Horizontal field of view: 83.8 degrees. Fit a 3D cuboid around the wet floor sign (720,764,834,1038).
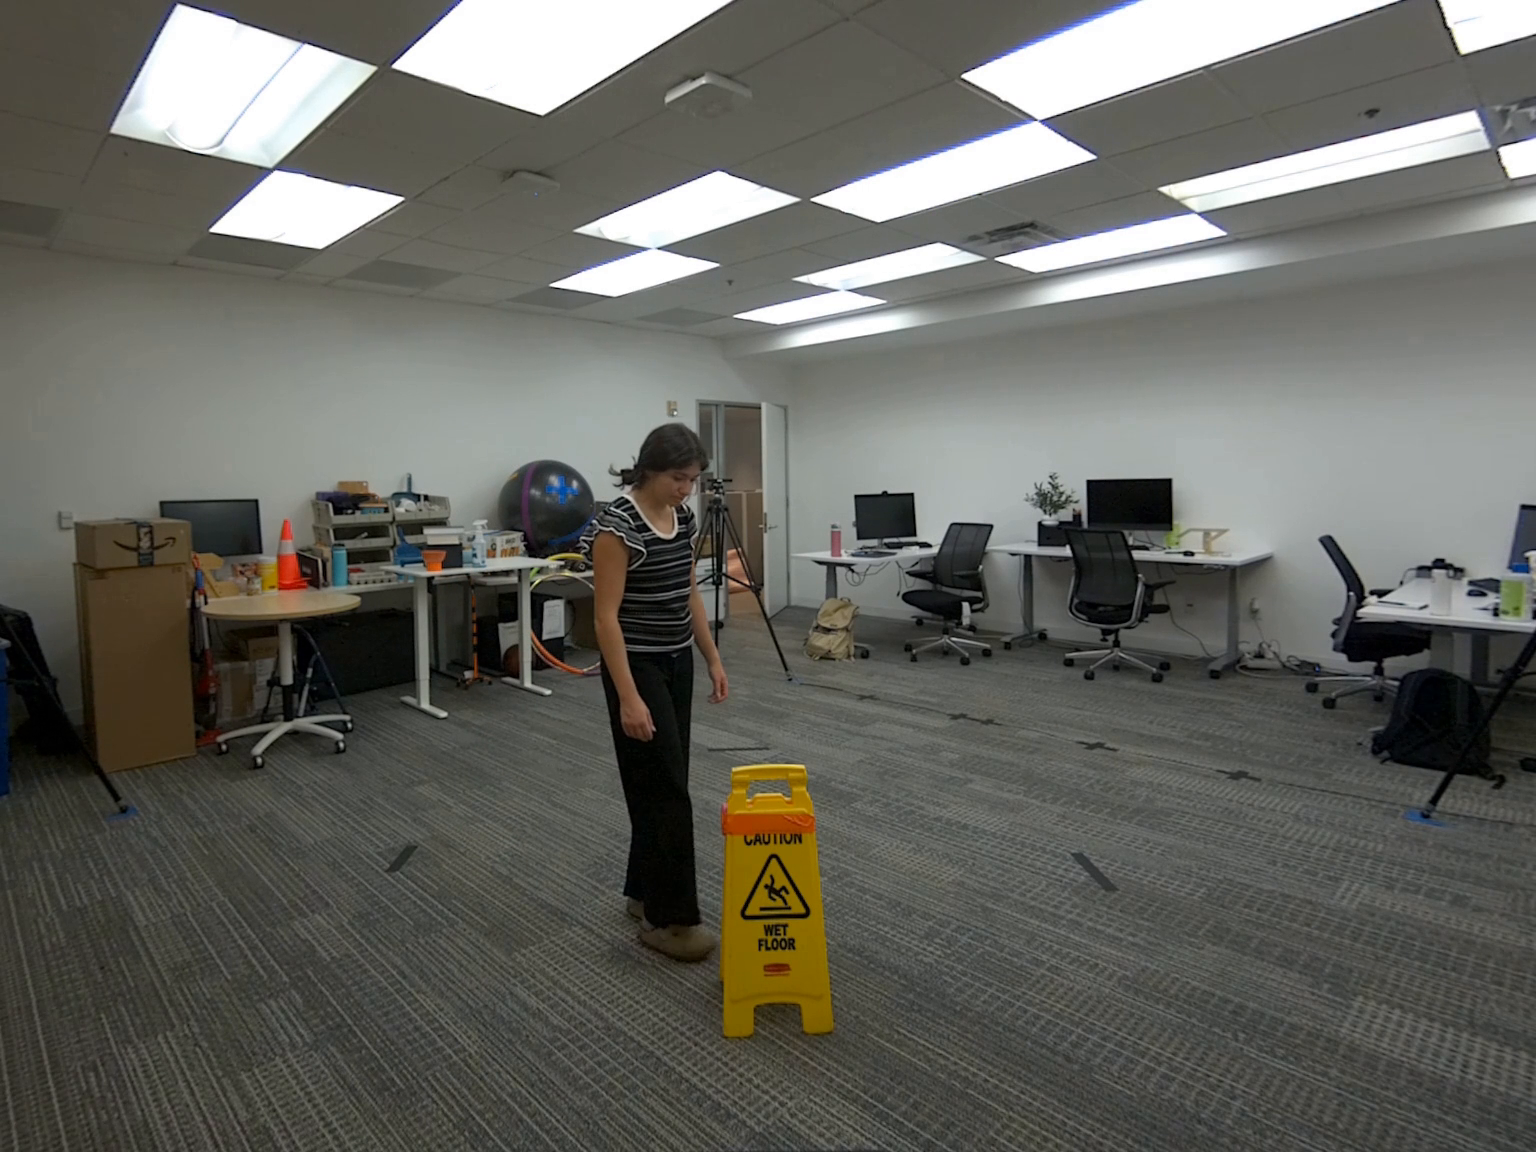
[{"bbox_3d":[0.012,0.819,2.243,0.281,0.643,0.292,-3,4,-4],"label":"wet floor sign"}]
